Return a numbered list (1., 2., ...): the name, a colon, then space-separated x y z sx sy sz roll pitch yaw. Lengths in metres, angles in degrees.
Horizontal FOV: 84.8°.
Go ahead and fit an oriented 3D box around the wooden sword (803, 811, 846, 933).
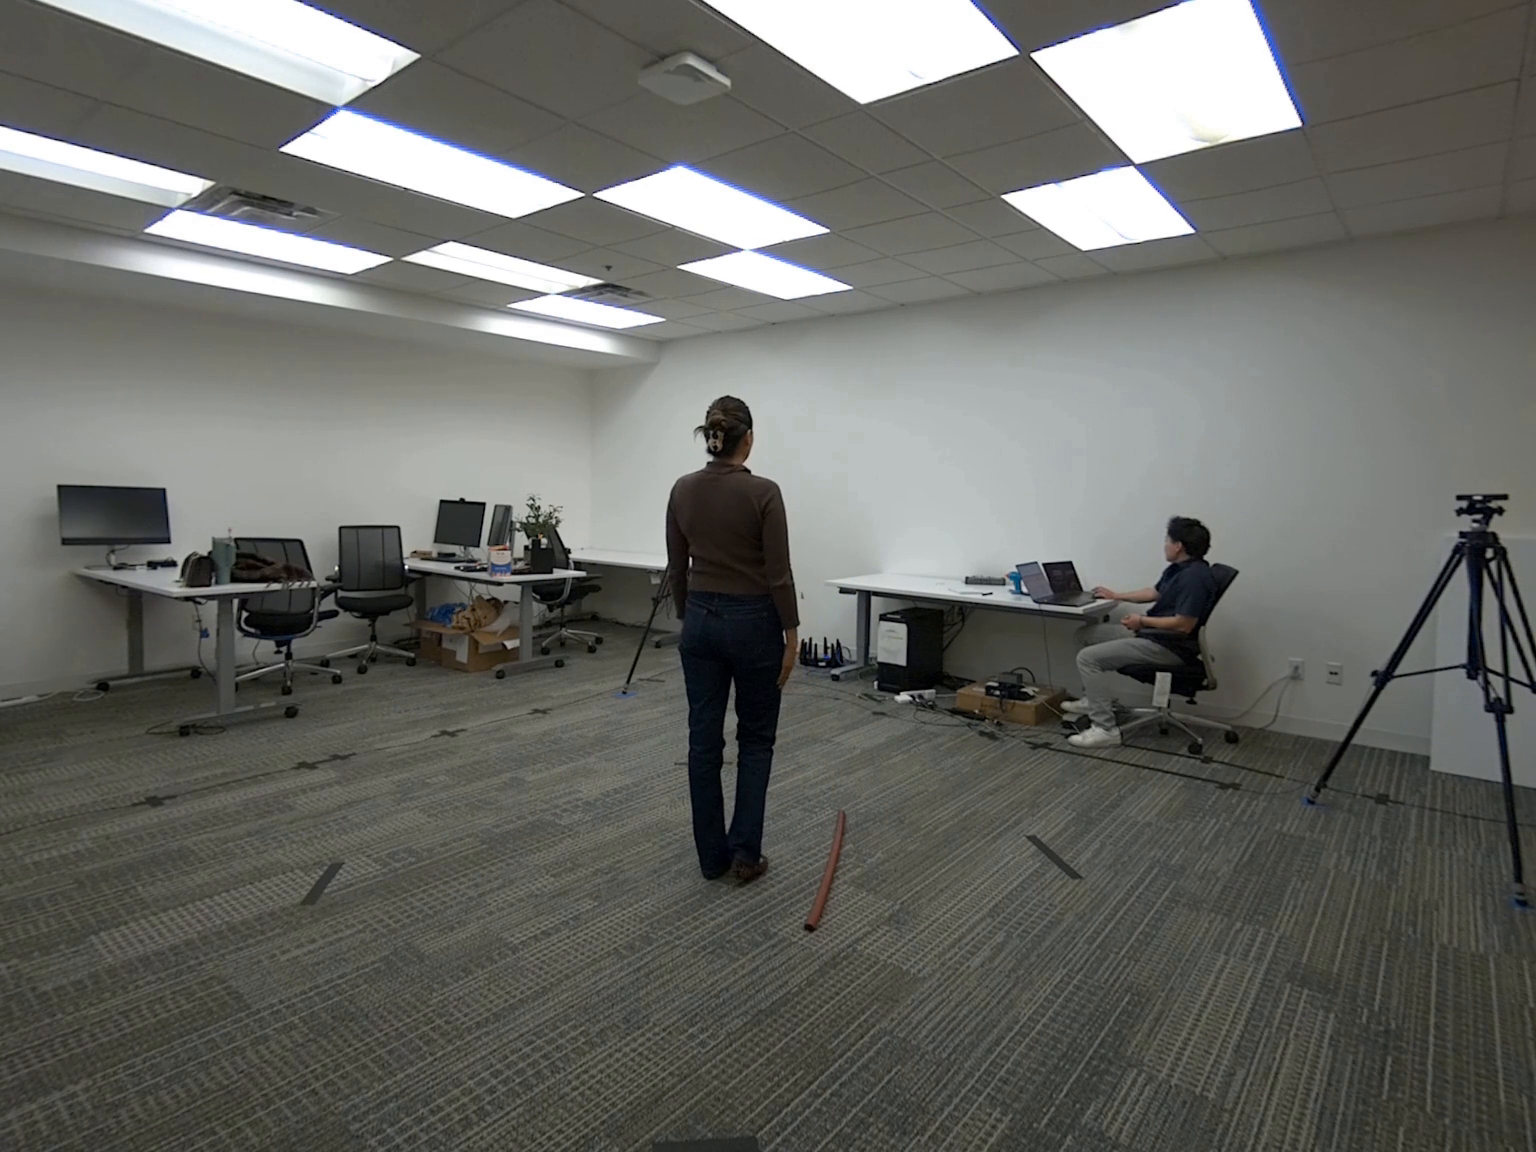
1. wooden sword: 0.218 1.041 3.154 0.024 0.051 1.015 9 6 9
